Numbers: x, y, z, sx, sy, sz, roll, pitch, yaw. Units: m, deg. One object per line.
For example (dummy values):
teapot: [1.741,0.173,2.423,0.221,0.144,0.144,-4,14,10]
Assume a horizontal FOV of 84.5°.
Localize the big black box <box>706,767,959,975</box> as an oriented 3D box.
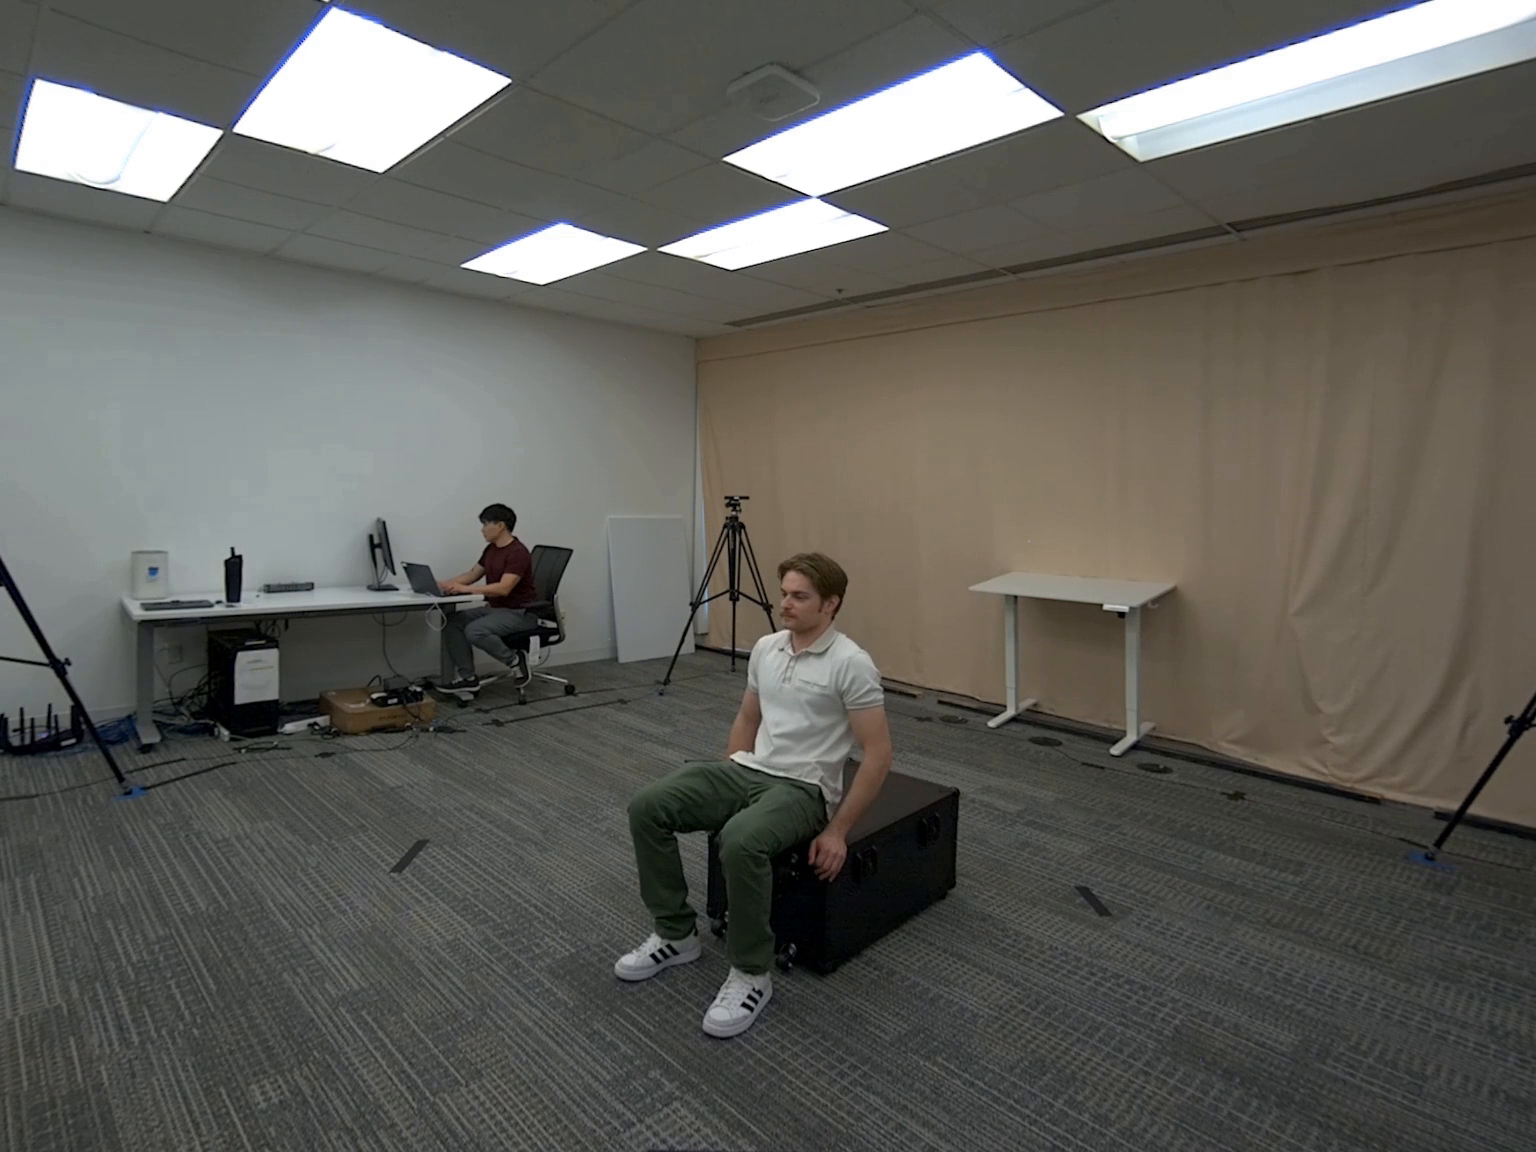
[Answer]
big black box: [0.204,0.943,2.841,0.537,0.384,0.849,6,8,41]
